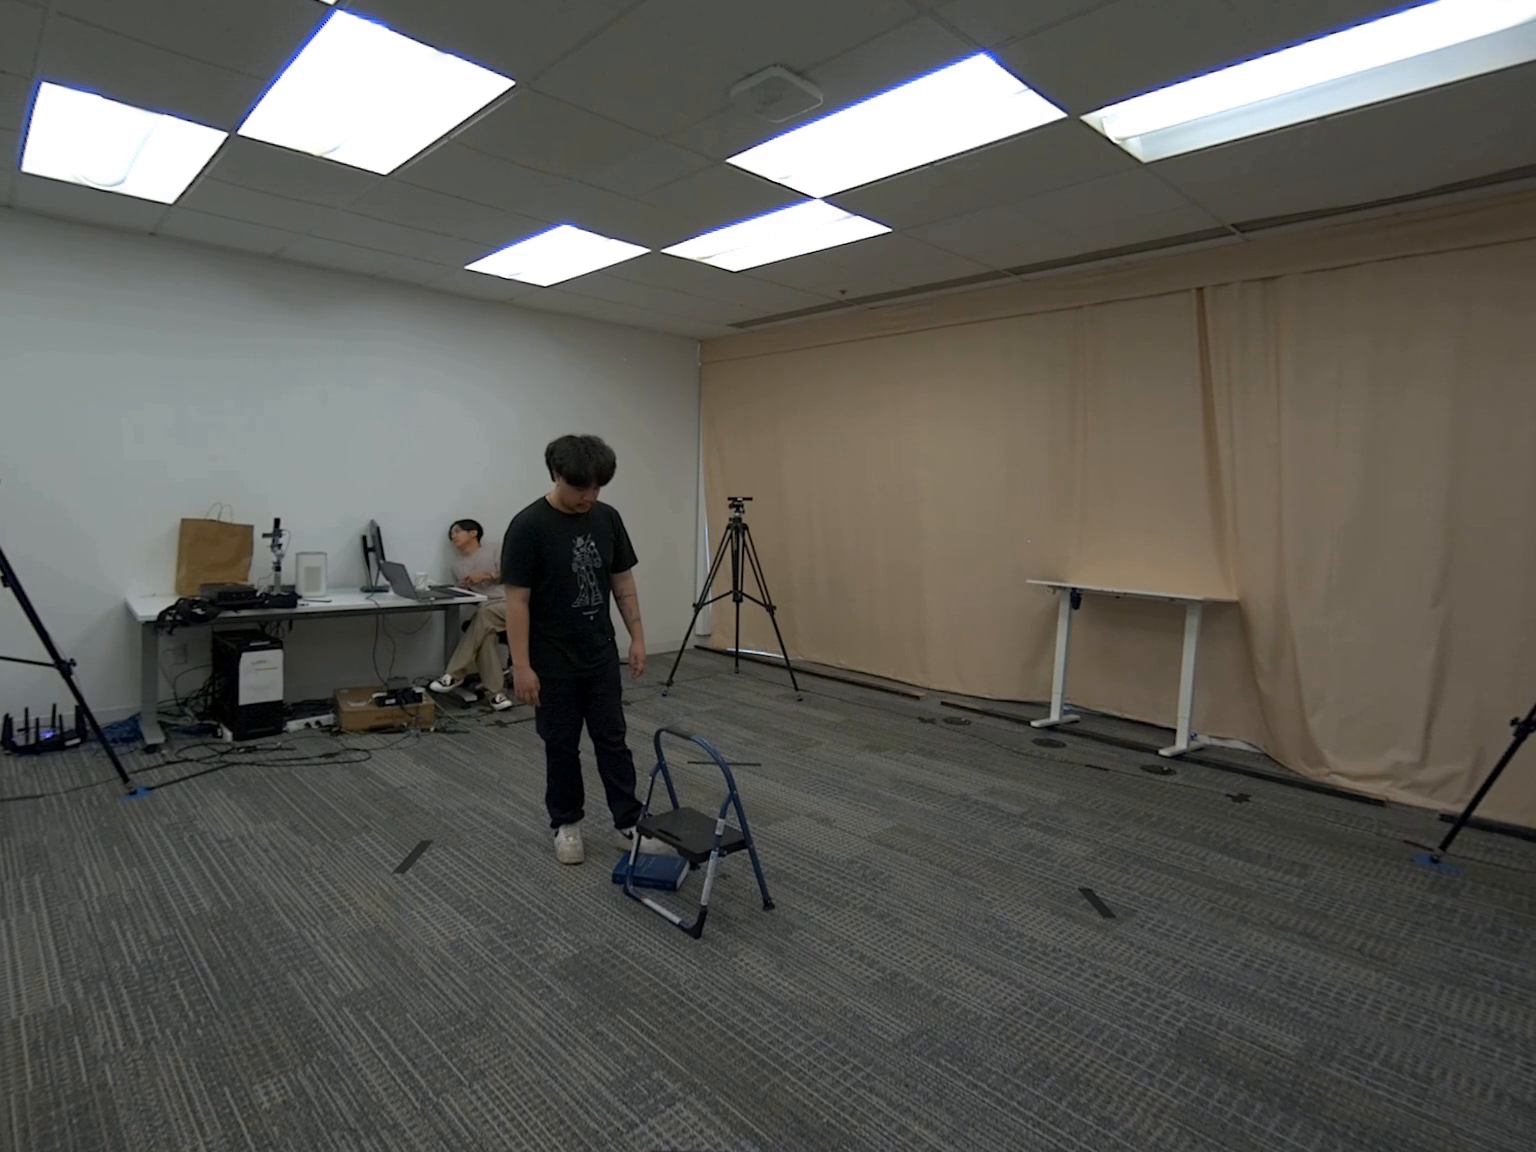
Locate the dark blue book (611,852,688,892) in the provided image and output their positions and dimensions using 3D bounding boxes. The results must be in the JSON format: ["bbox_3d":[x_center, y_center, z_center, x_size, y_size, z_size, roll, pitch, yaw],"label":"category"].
[{"bbox_3d":[-0.441,1.077,3.065,0.247,0.045,0.162,3,8,11],"label":"dark blue book"}]
